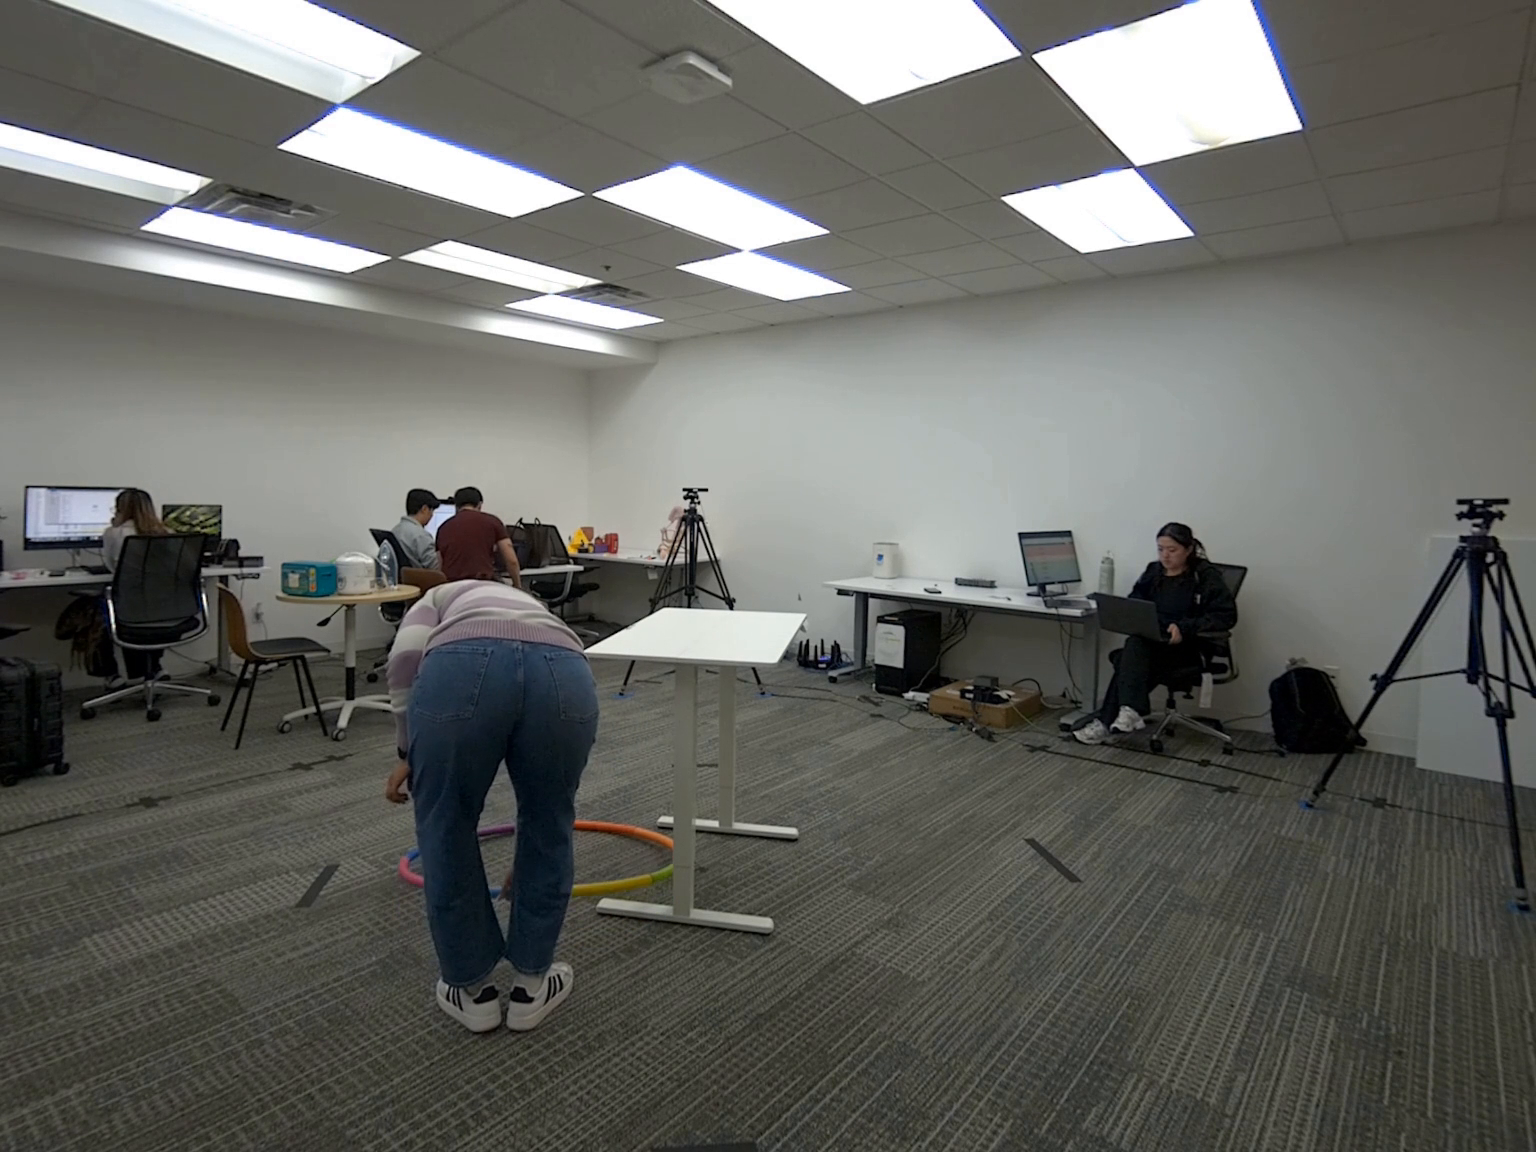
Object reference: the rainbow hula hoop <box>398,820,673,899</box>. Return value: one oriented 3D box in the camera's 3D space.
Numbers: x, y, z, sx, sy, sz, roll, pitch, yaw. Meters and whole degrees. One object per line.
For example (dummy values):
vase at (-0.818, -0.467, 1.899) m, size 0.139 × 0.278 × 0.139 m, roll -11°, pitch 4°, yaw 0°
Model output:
rainbow hula hoop at (-0.804, 0.977, 2.988) m, size 0.978 × 0.036 × 0.974 m, roll 1°, pitch -5°, yaw -2°
